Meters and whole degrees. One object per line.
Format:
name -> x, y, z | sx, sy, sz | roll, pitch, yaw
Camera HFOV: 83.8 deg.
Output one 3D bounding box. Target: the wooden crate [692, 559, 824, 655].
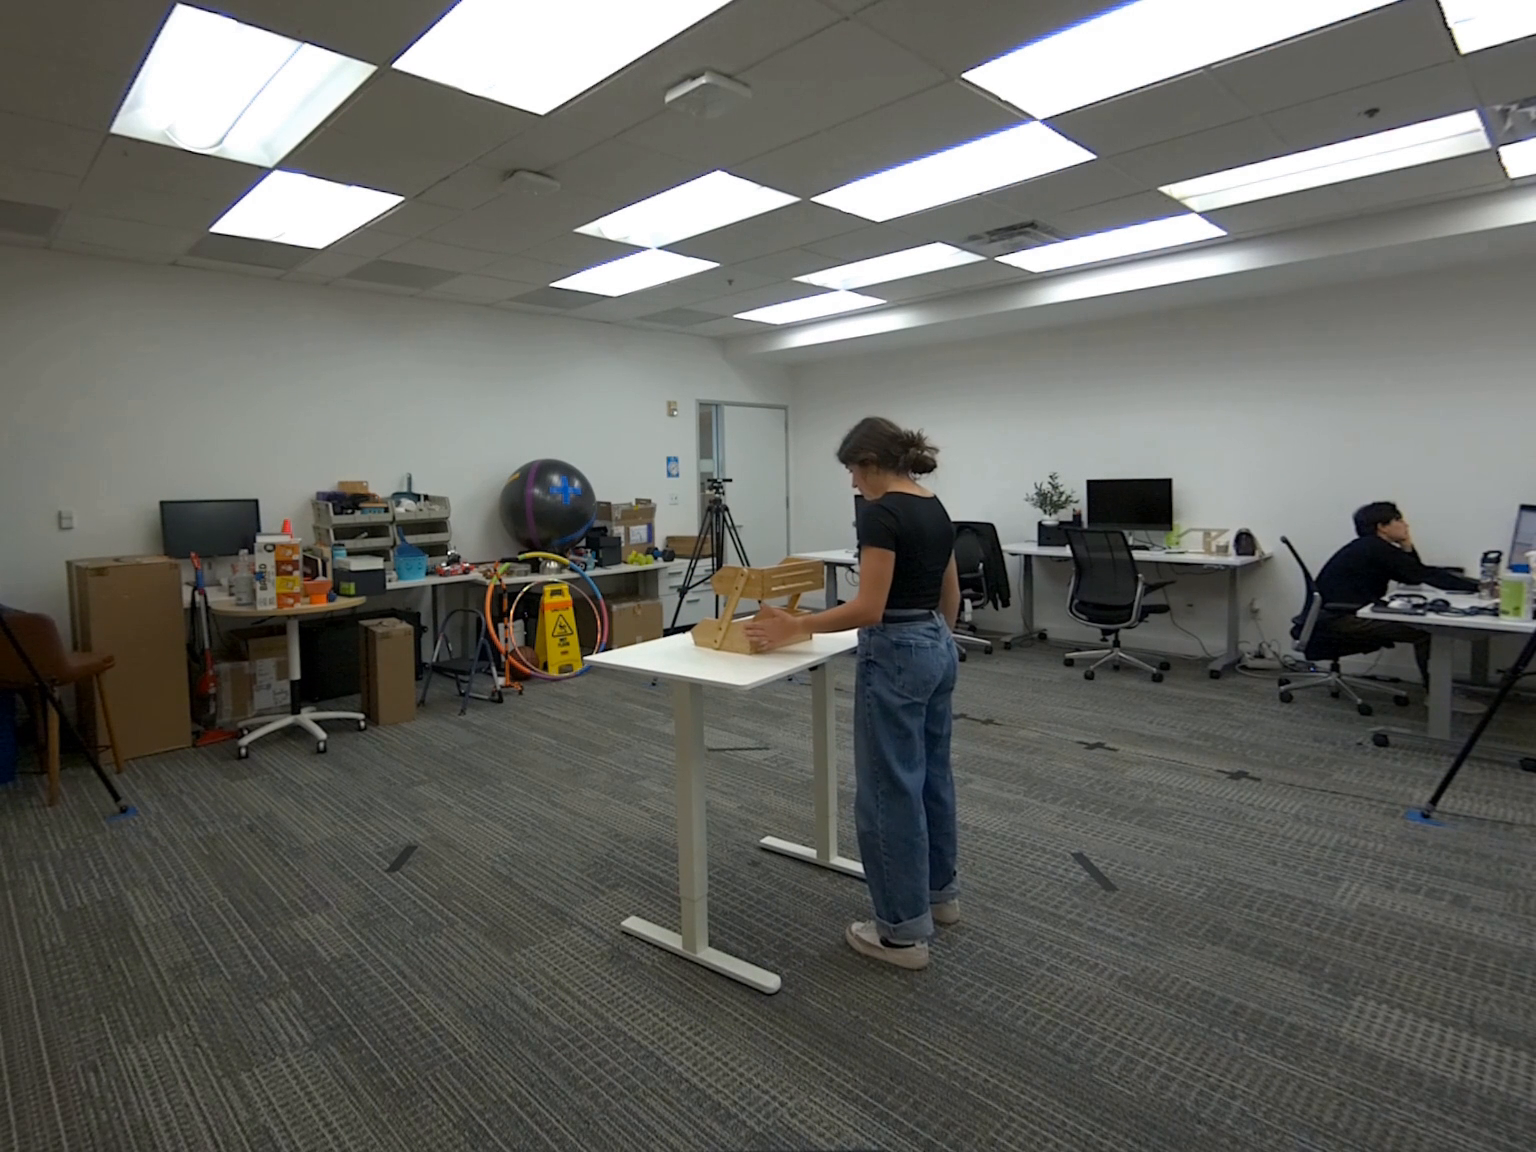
wooden crate -> -0.026, 0.080, 2.673 | 0.311, 0.272, 0.316 | 4, 8, 42
